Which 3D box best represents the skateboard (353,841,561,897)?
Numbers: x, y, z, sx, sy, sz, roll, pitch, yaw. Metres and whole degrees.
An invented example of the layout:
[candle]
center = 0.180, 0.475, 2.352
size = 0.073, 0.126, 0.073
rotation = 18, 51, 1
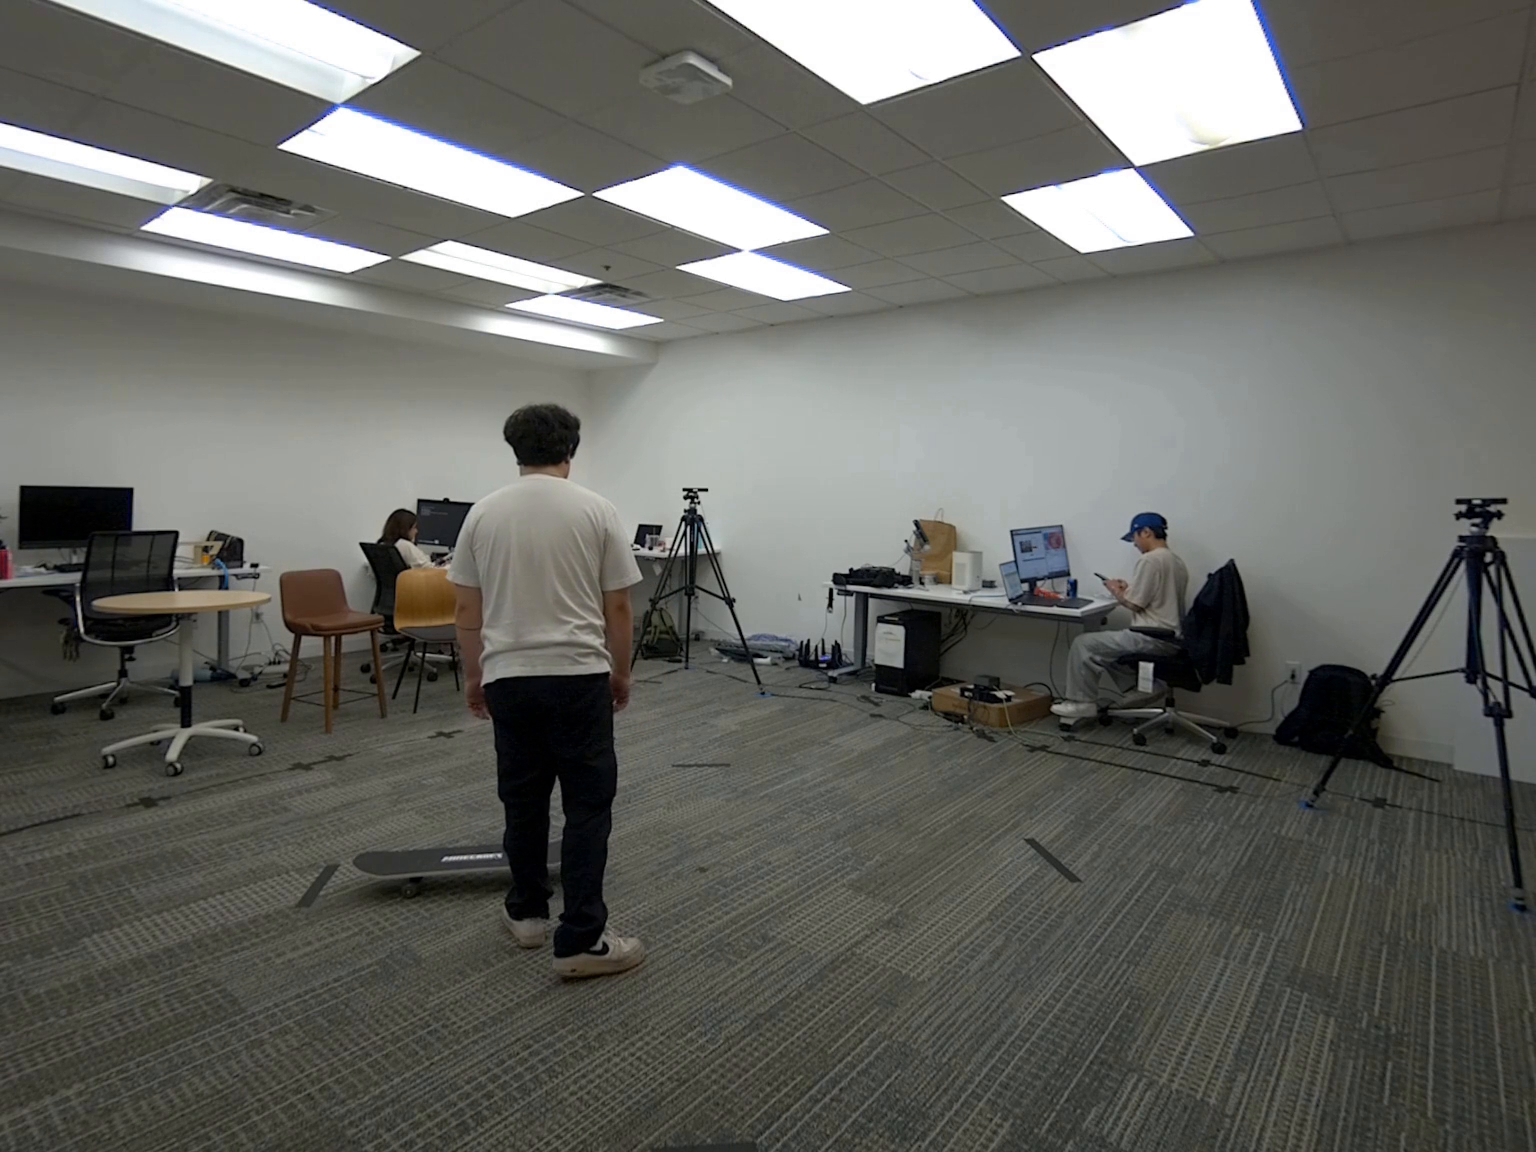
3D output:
[skateboard]
center = -1.047, 1.016, 2.971
size = 0.776, 0.110, 0.196
rotation = 0, 5, -11
